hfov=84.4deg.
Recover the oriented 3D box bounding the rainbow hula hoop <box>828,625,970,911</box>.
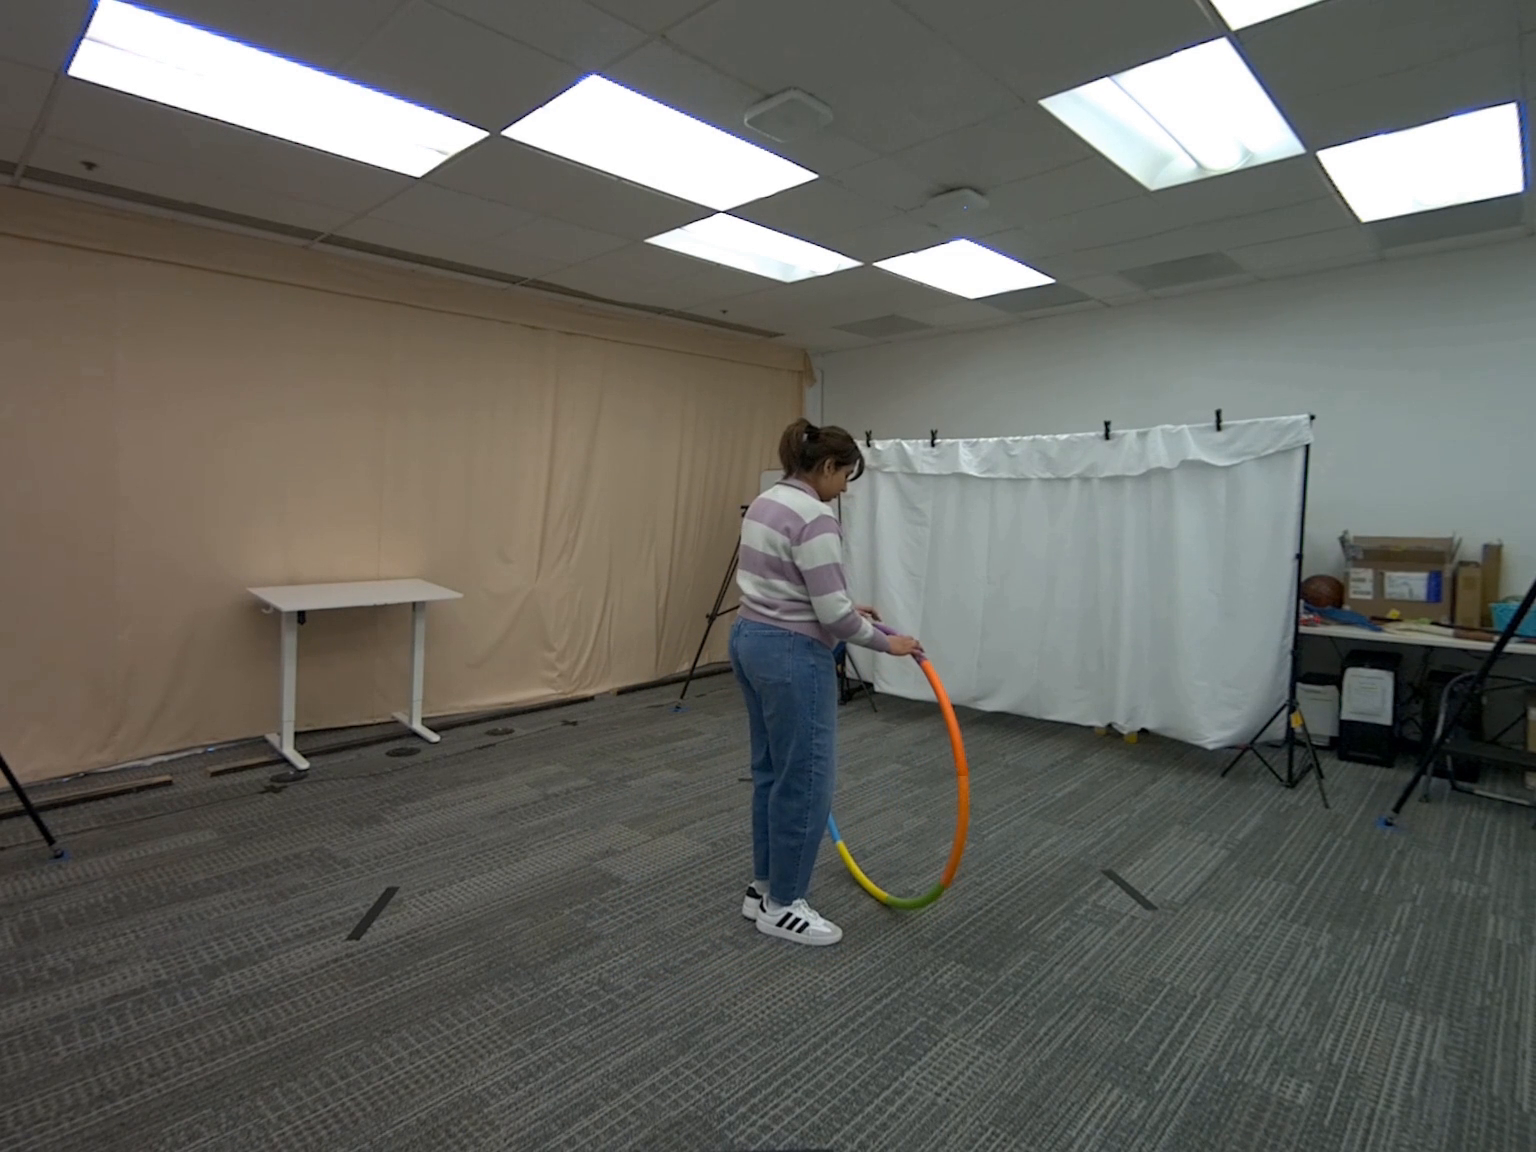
[{"bbox_3d":[0.390,0.661,2.979,0.050,0.983,1.009,0,4,-23],"label":"rainbow hula hoop"}]
